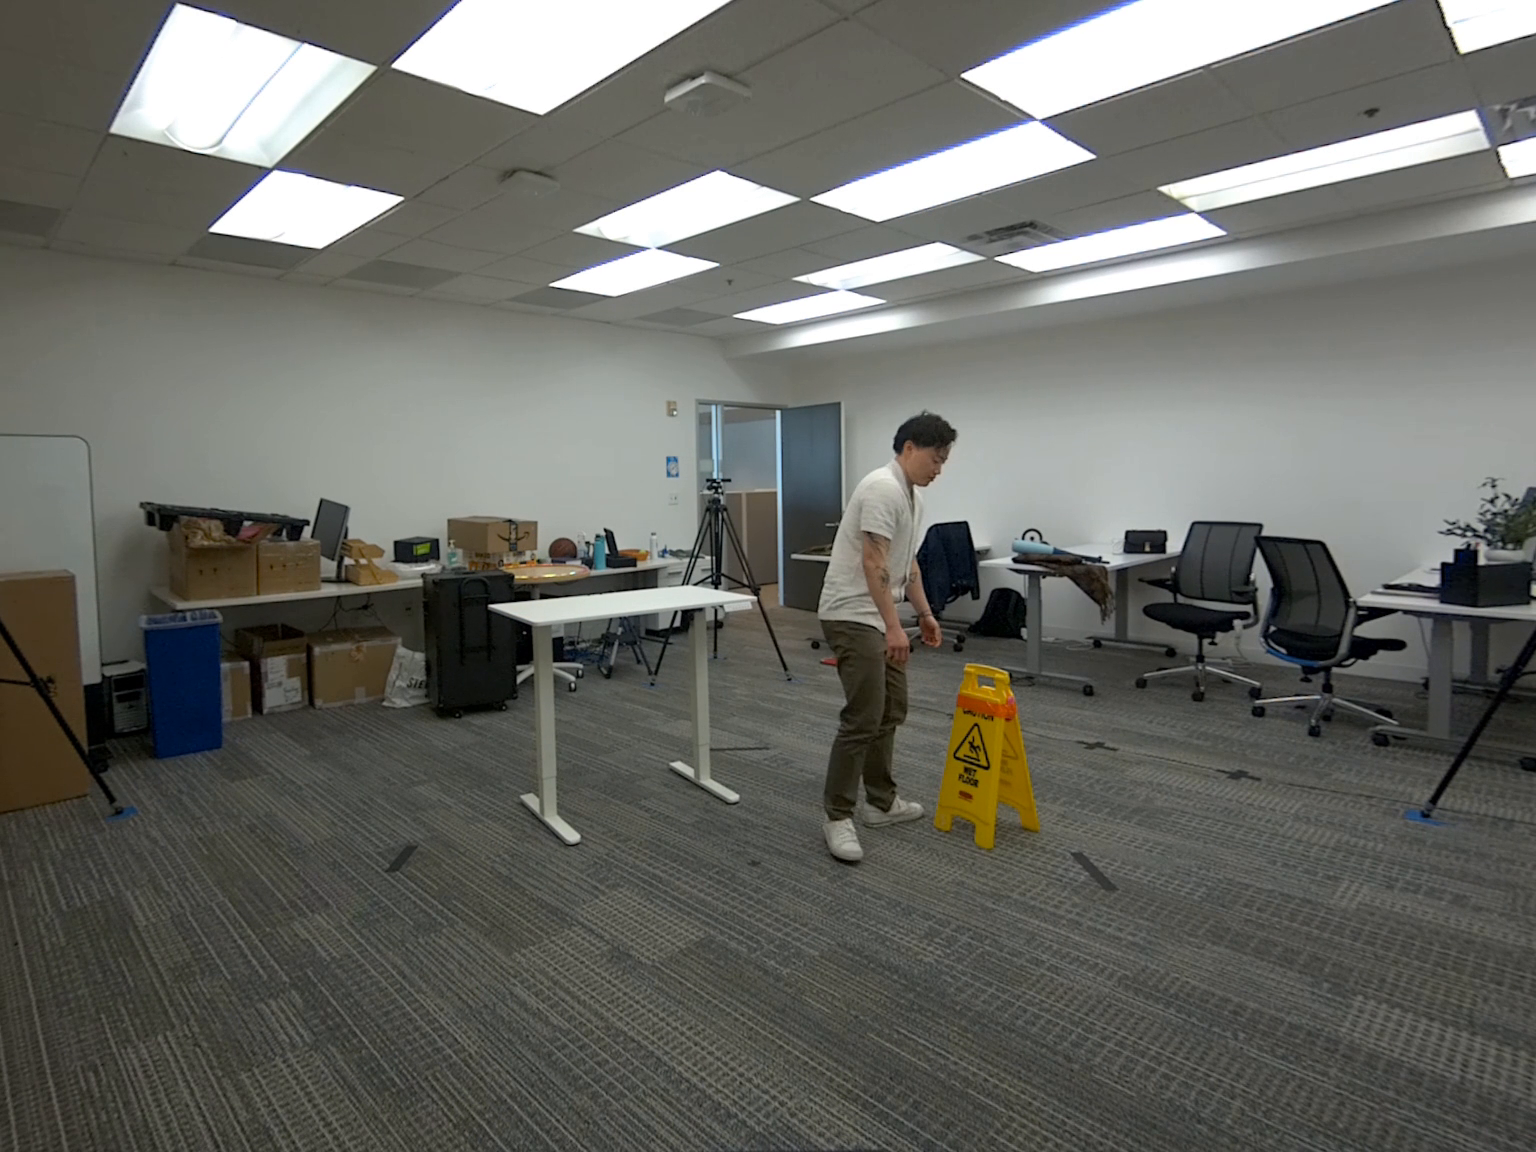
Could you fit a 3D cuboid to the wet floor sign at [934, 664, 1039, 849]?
[{"bbox_3d":[0.856,0.676,3.354,0.282,0.644,0.291,-3,5,-35],"label":"wet floor sign"}]
